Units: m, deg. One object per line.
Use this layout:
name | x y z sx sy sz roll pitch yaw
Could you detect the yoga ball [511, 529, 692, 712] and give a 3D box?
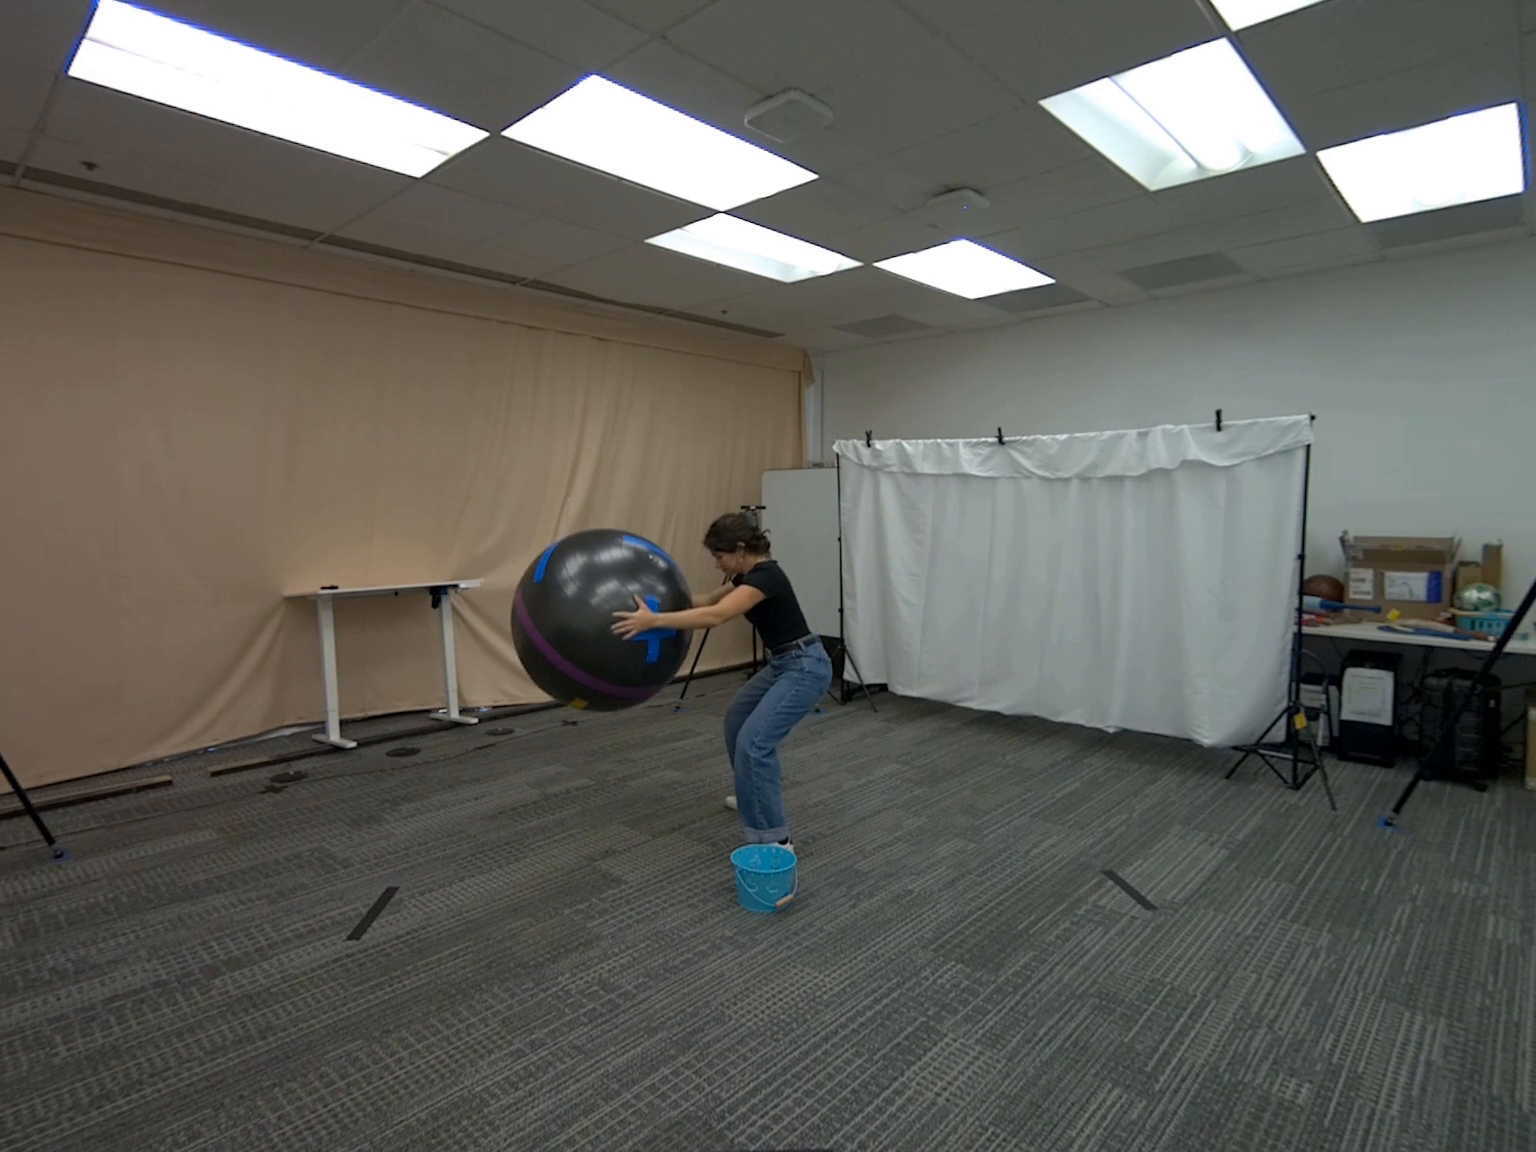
yoga ball | -0.686 0.184 3.525 0.757 0.756 0.760 0 4 -2
